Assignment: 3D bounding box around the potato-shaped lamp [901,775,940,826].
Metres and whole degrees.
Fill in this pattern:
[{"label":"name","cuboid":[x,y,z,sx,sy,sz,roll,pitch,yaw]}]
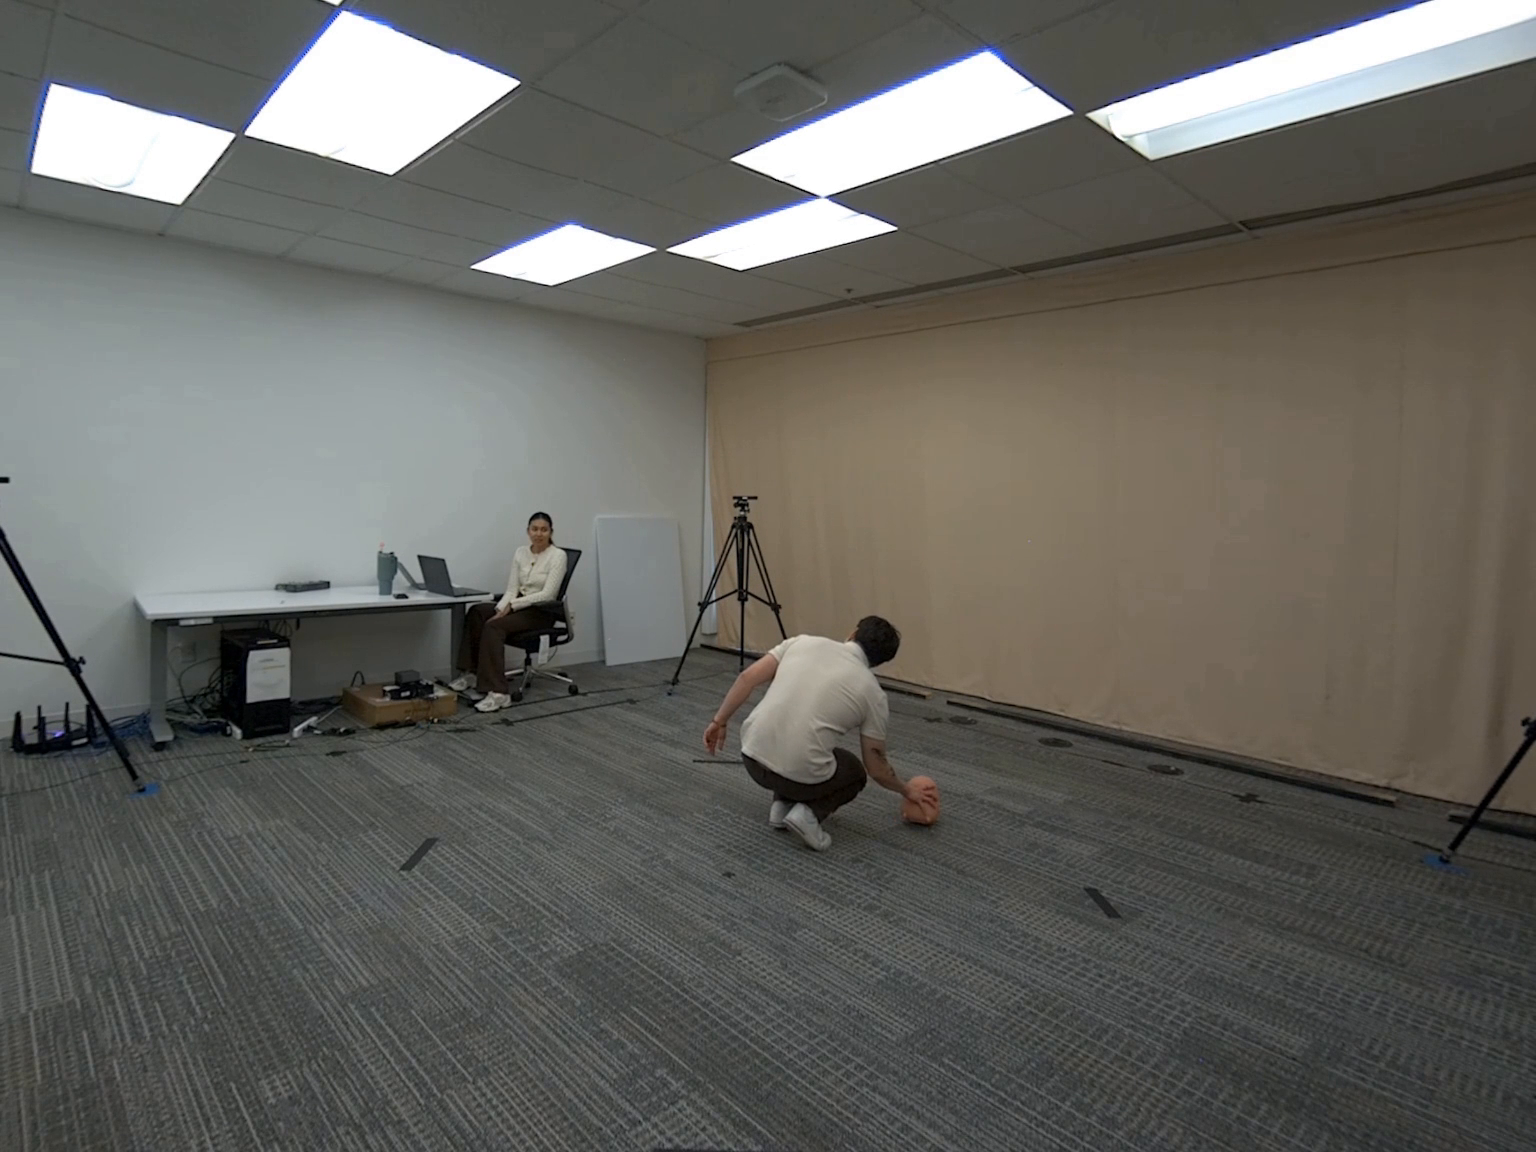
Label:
[{"label":"potato-shaped lamp","cuboid":[0.653,0.971,3.670,0.165,0.200,0.169,13,-17,5]}]
